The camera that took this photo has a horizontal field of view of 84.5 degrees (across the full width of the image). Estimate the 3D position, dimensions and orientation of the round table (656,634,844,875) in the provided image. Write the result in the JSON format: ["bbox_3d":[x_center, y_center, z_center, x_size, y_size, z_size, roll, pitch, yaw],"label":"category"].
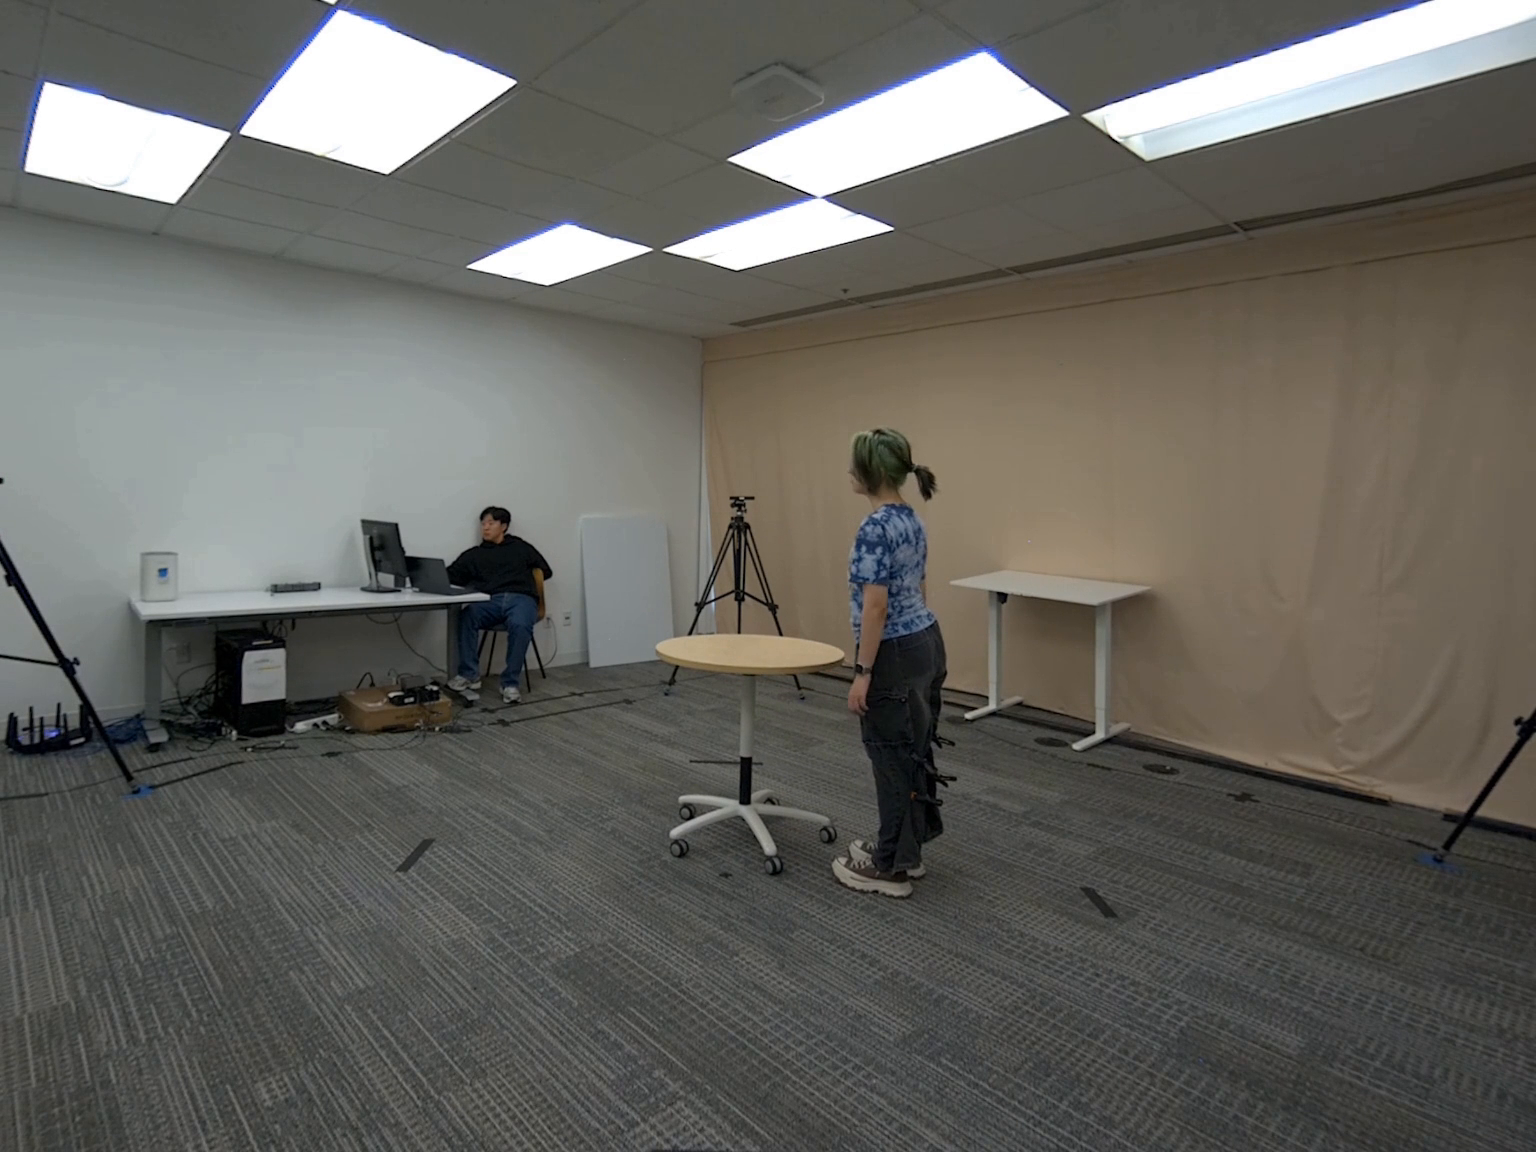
[{"bbox_3d":[-0.093,0.692,3.446,0.763,0.792,0.766,2,4,-1],"label":"round table"}]
